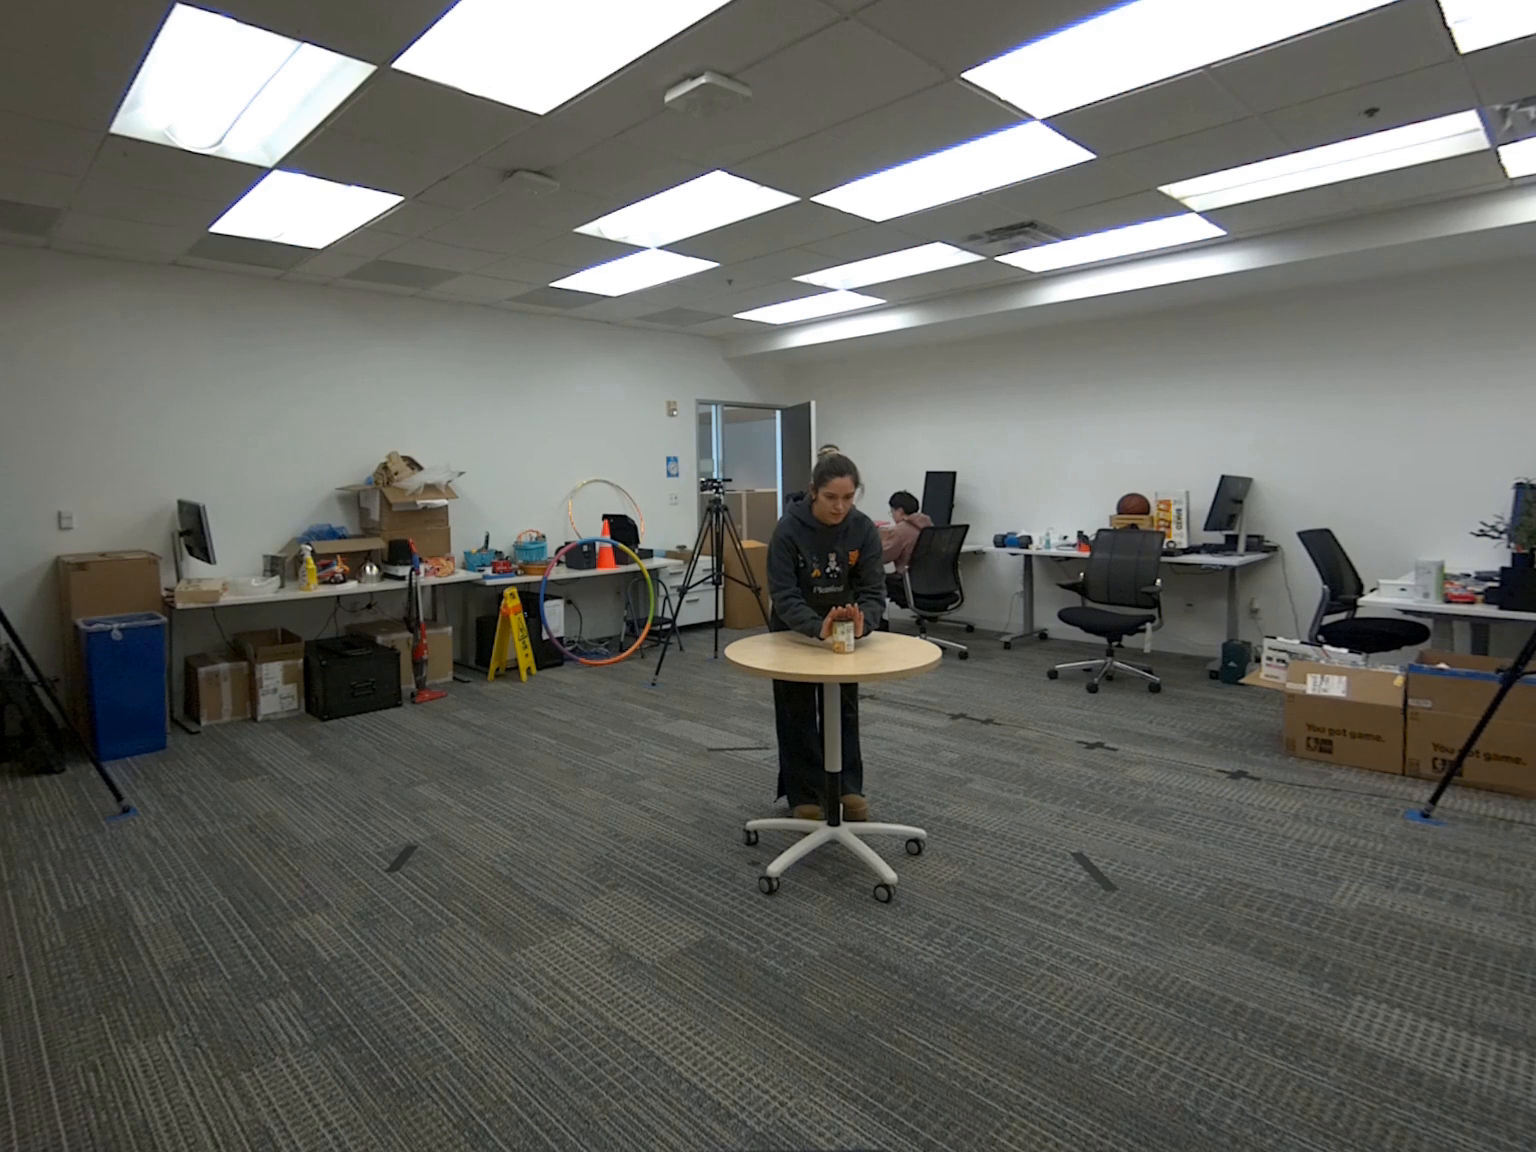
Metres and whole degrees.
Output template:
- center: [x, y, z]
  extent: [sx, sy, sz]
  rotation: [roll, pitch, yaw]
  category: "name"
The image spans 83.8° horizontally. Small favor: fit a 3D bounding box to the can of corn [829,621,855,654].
- center: [0.265, 0.213, 2.999]
  extent: [0.074, 0.111, 0.074]
  rotation: [3, 4, -2]
  category: "can of corn"
